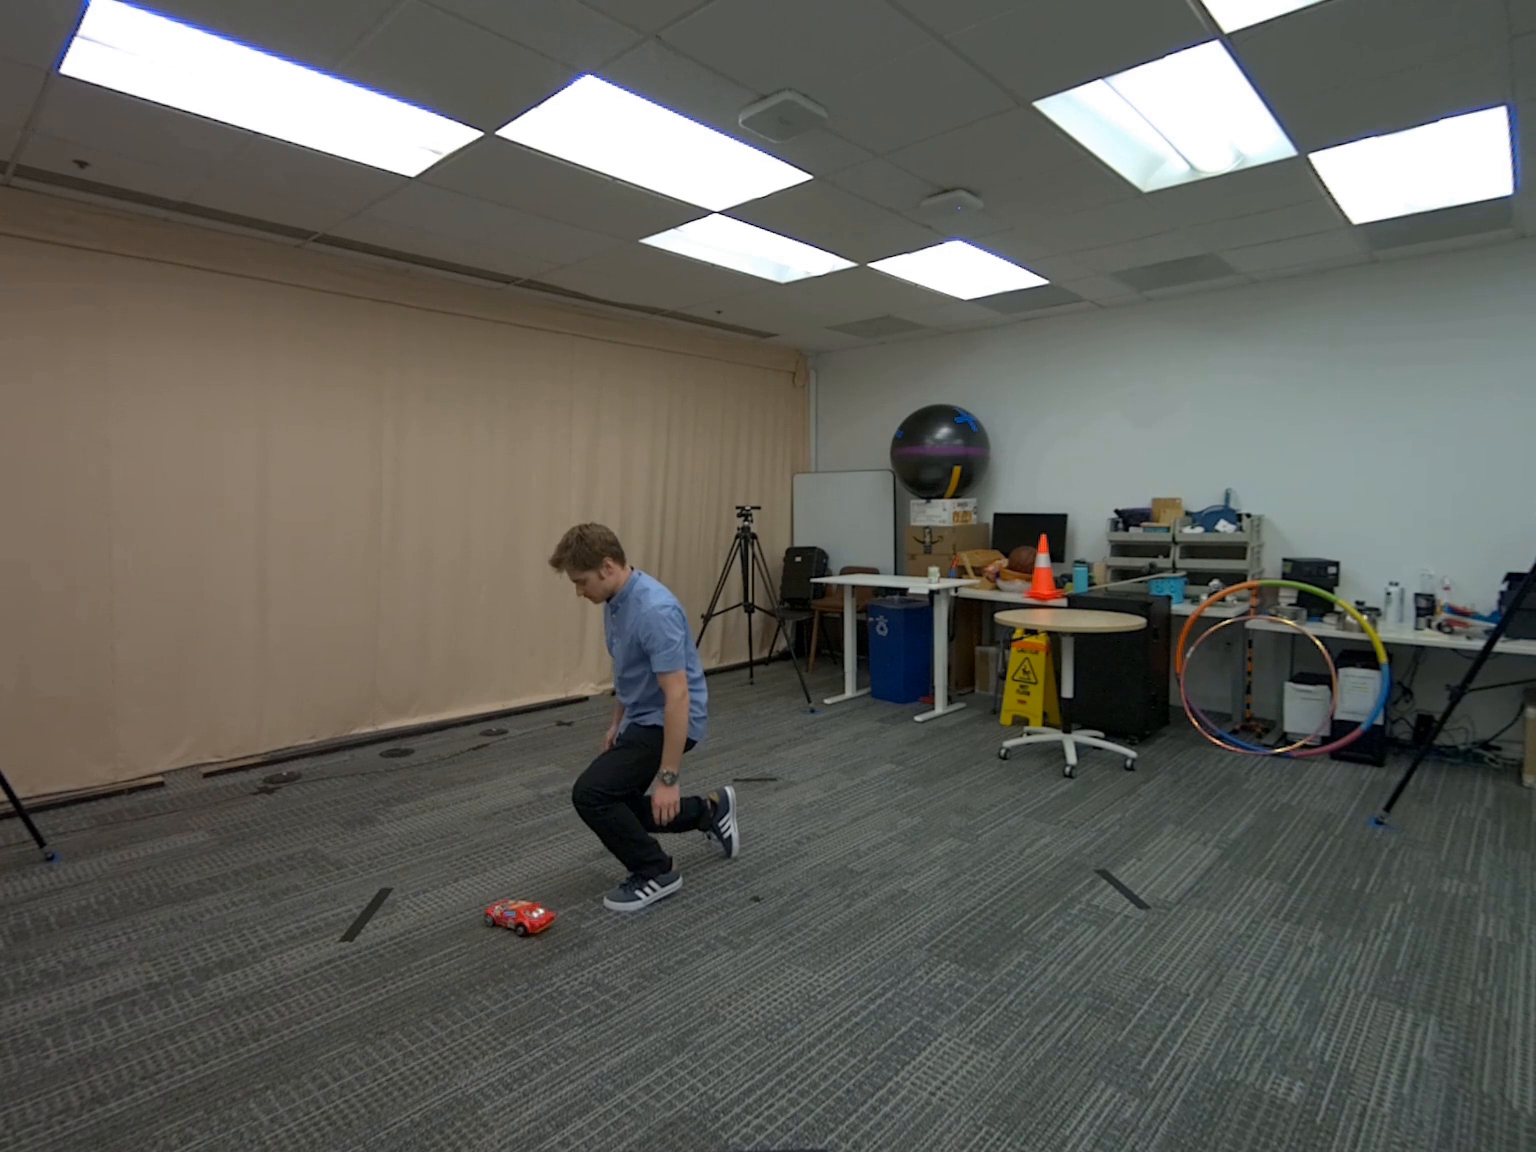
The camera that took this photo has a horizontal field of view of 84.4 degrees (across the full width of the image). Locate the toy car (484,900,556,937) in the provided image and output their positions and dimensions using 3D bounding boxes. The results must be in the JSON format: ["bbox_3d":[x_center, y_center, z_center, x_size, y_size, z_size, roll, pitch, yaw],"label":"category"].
[{"bbox_3d":[-0.820,1.135,2.789,0.260,0.083,0.127,-11,-1,28],"label":"toy car"}]
